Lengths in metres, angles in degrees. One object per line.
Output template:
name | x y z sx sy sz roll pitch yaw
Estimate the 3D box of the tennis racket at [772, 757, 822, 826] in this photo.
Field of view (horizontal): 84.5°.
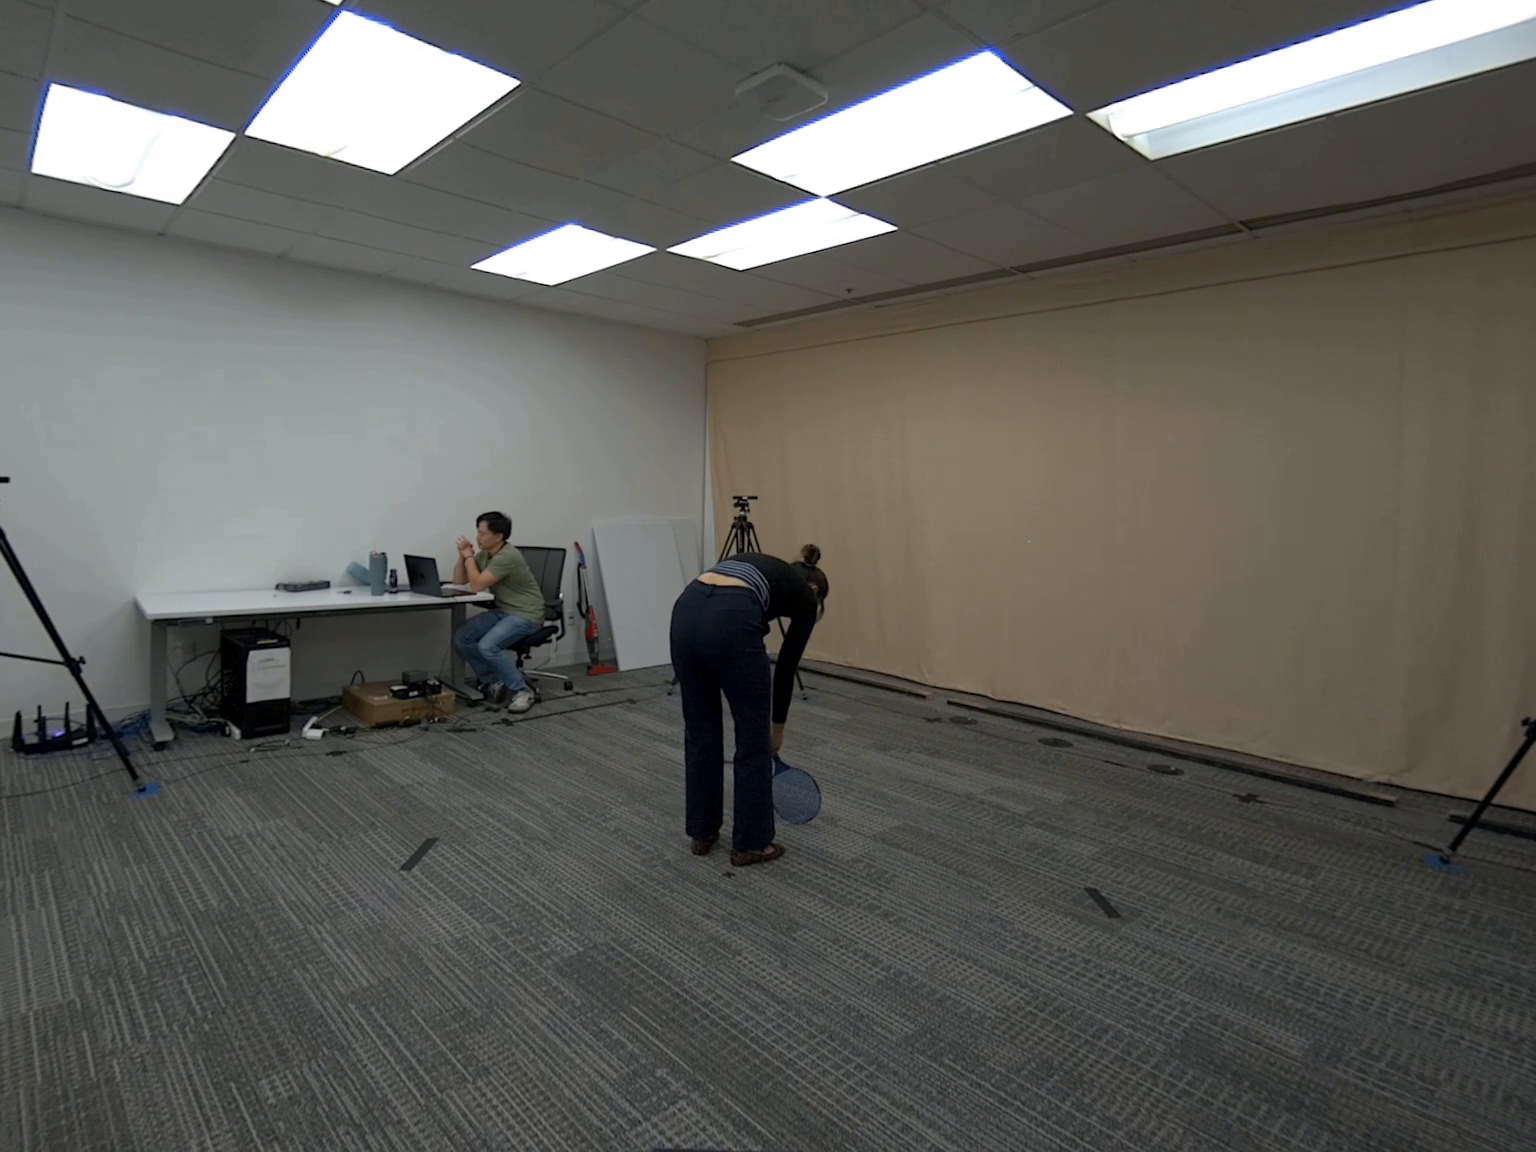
tennis racket | 0.069 0.872 3.589 0.214 0.432 0.032 -31 2 4
